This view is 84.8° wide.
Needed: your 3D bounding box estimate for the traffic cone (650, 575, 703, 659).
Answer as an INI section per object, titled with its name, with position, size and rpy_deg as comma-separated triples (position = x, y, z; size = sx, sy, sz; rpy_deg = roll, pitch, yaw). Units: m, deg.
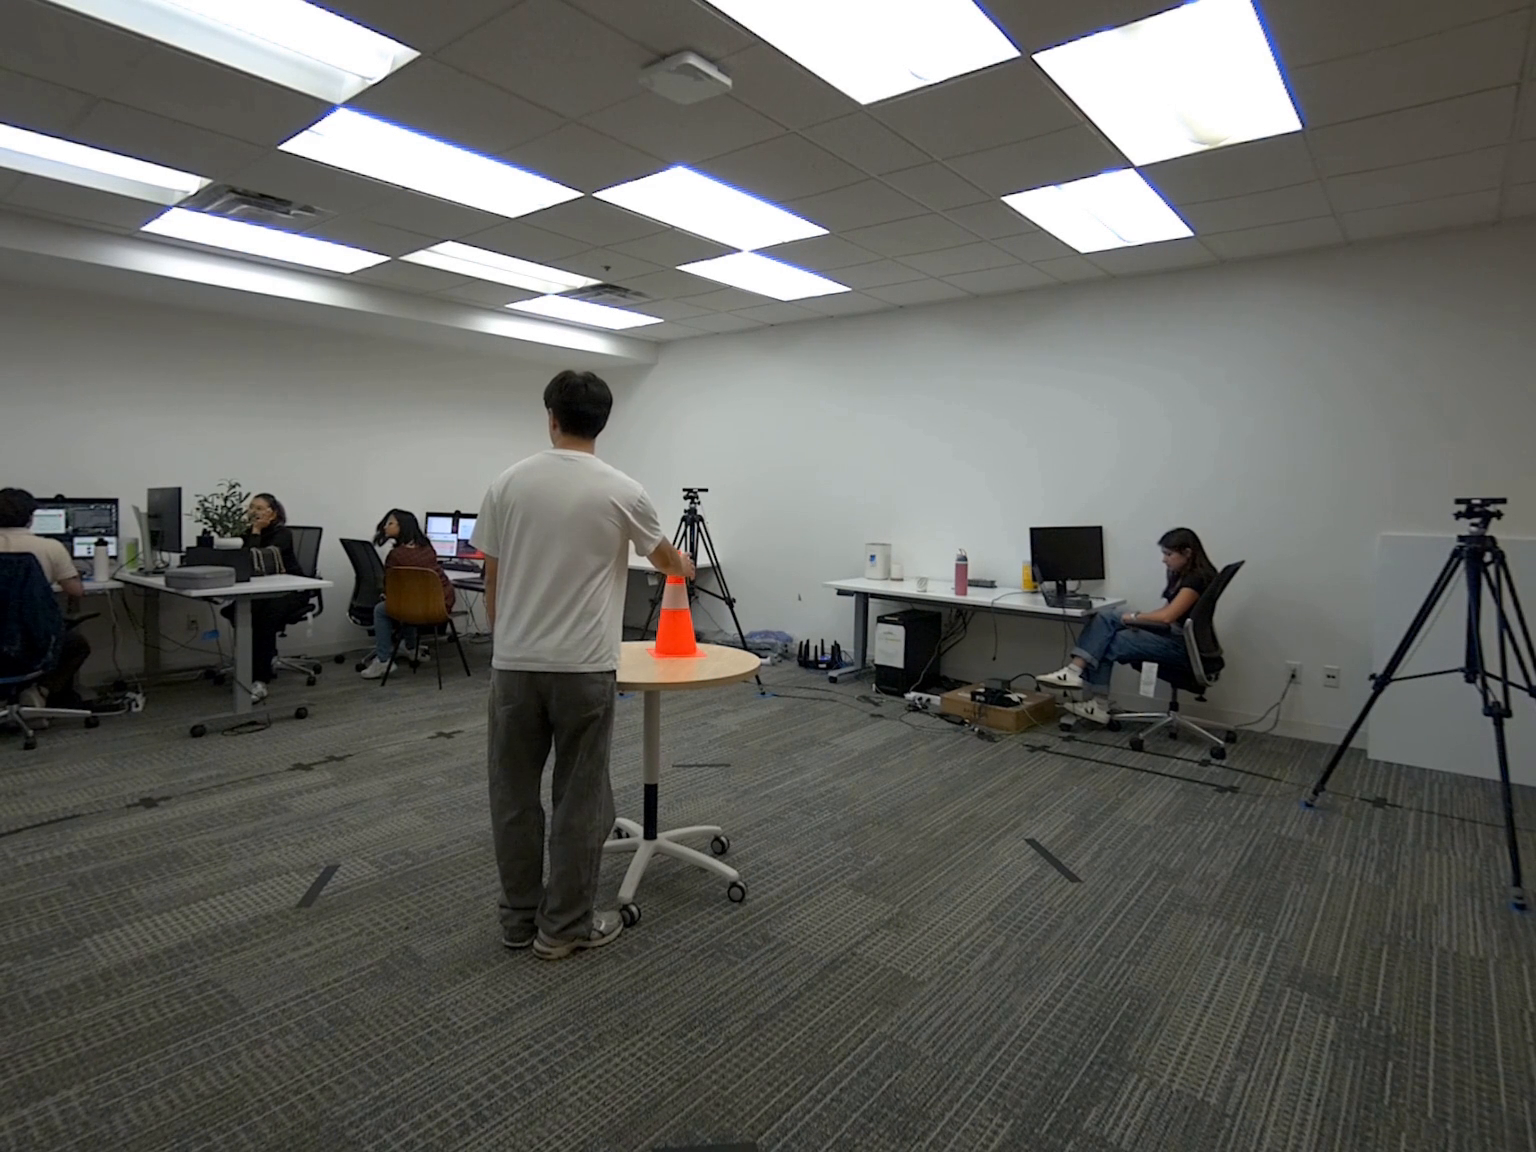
[traffic cone]
position = -0.339, 0.090, 3.149
size = 0.202, 0.383, 0.207
rpy_deg = 1, 3, -16
